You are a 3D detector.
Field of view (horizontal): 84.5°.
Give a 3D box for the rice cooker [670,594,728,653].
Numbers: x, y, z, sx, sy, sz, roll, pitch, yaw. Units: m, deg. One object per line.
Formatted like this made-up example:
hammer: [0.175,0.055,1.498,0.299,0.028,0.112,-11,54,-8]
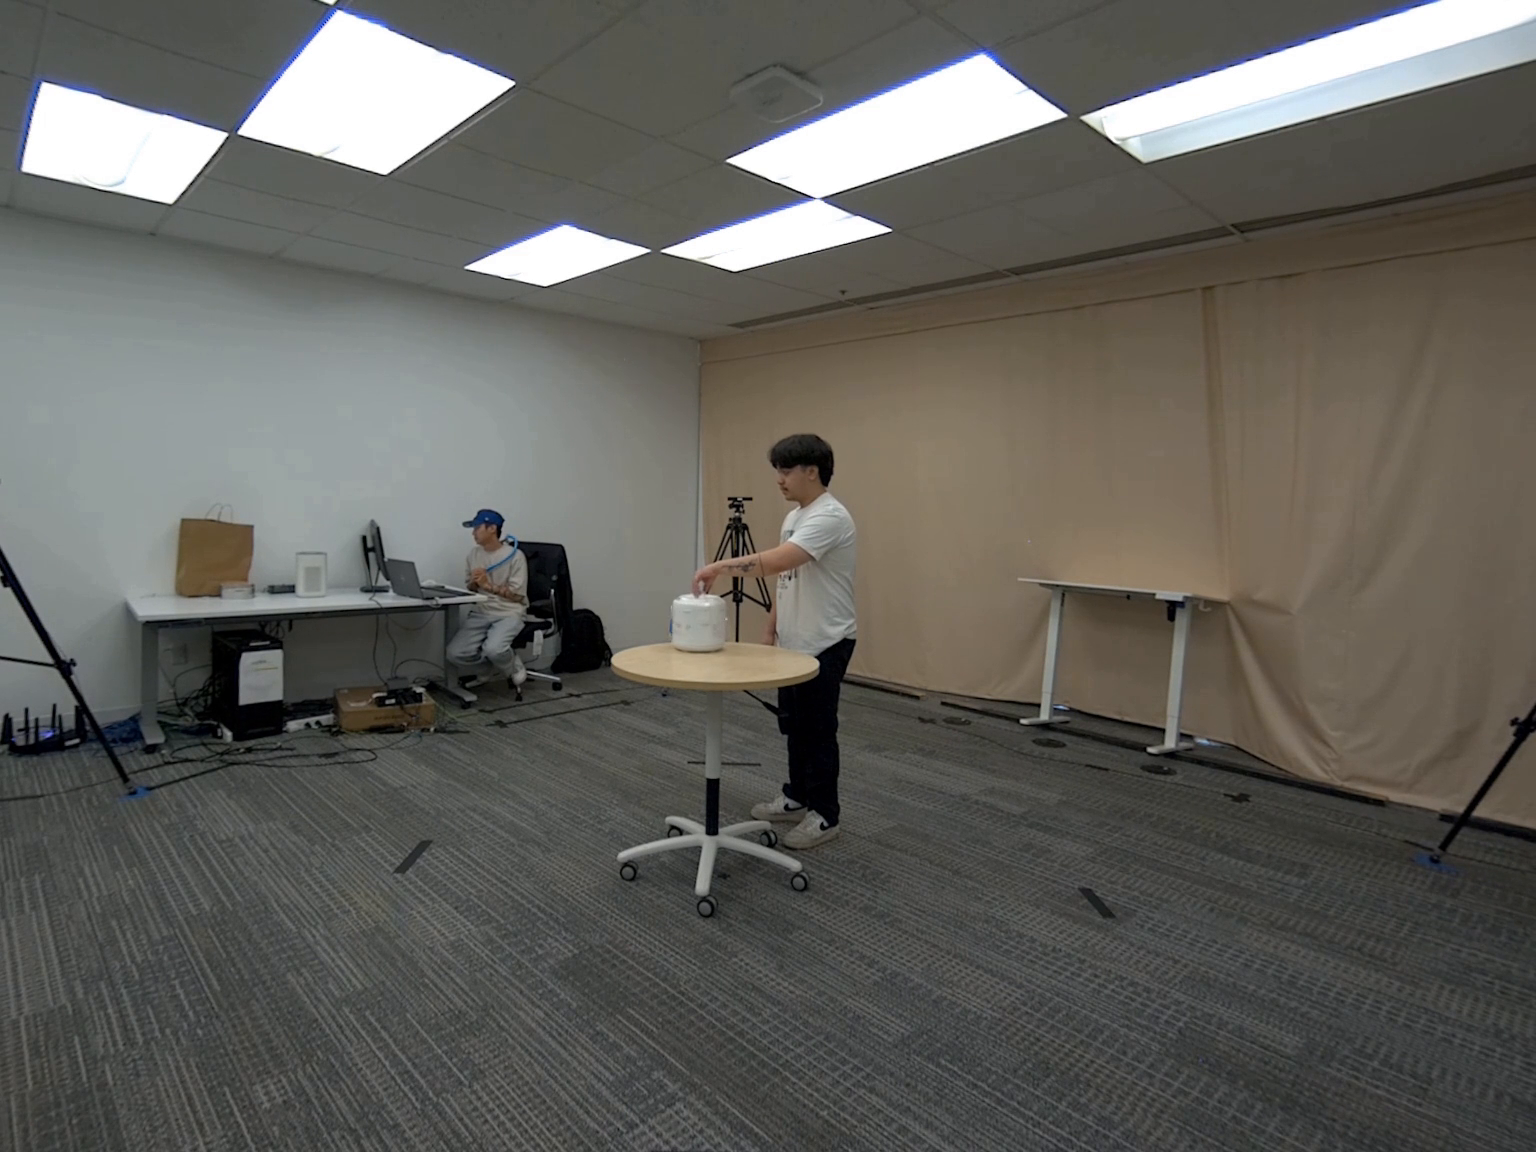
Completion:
rice cooker: [-0.276,0.172,3.308,0.215,0.232,0.224,0,6,-14]
